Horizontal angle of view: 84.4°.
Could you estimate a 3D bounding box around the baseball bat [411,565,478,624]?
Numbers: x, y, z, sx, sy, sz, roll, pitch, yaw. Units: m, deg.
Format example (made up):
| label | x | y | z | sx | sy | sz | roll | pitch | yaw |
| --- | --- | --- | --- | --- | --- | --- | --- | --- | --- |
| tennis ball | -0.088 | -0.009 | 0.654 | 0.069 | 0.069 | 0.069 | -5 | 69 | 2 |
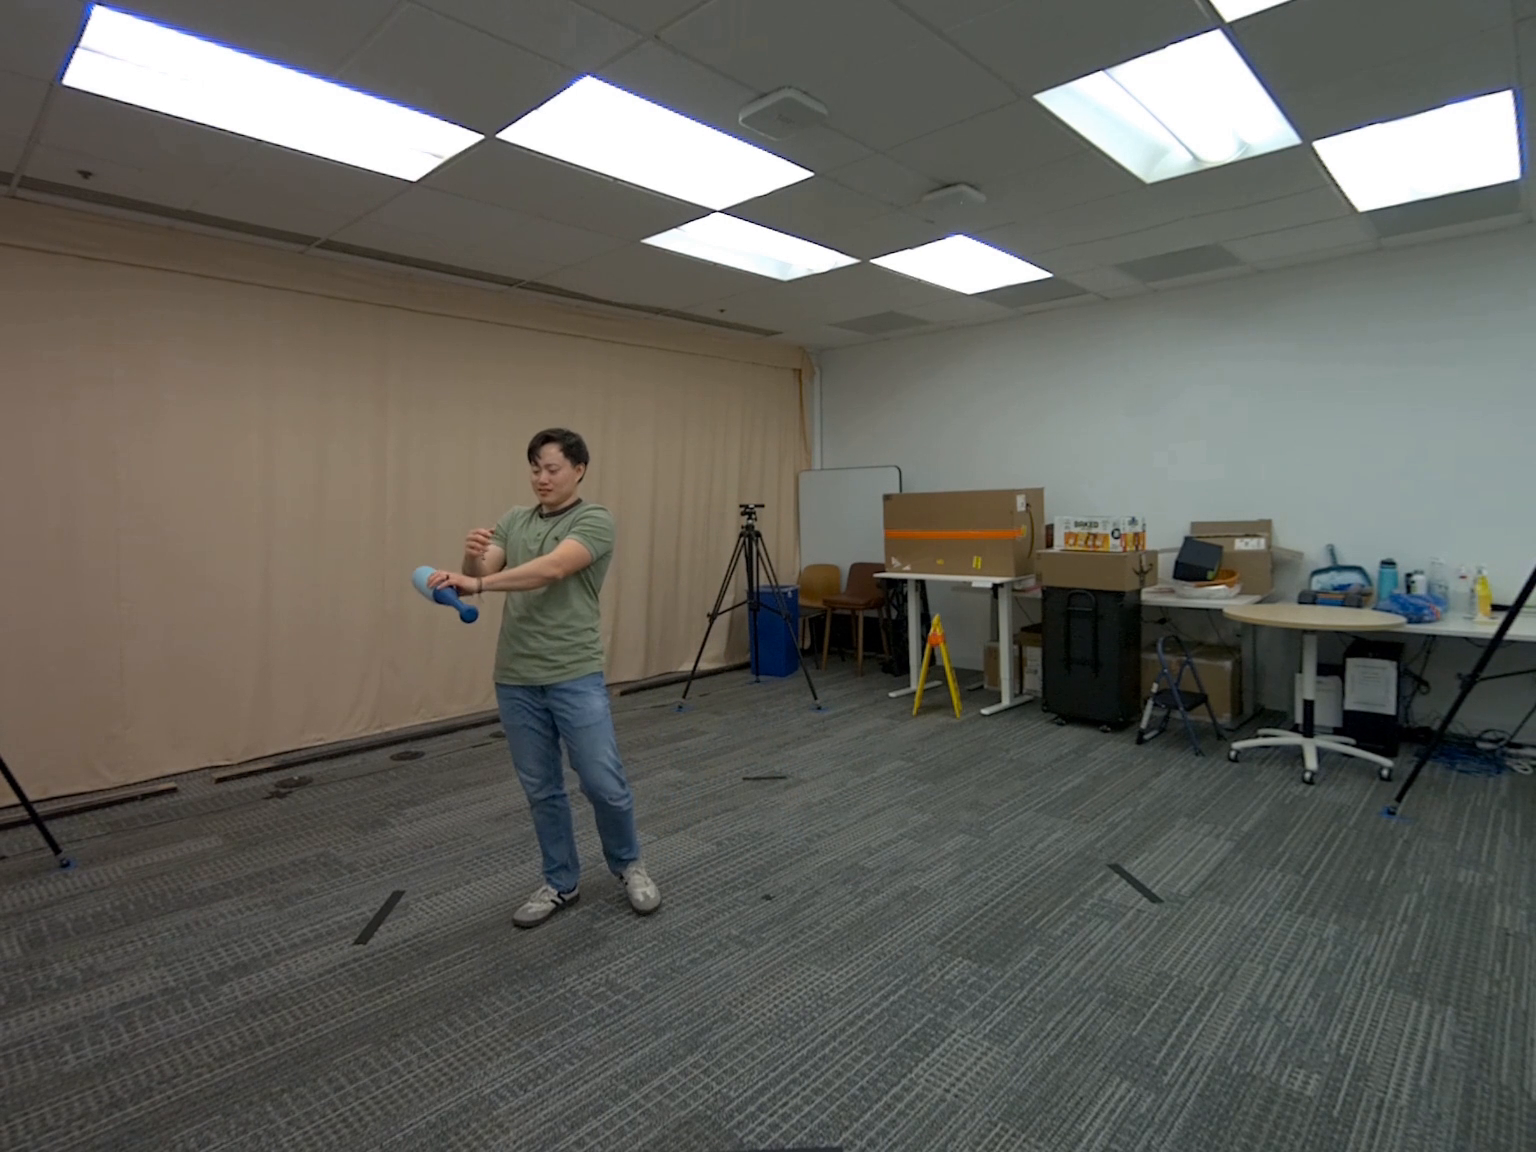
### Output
| label | x | y | z | sx | sy | sz | roll | pitch | yaw |
| --- | --- | --- | --- | --- | --- | --- | --- | --- | --- |
| baseball bat | -0.950 | 0.059 | 2.504 | 0.086 | 0.088 | 0.562 | -4 | 13 | -35 |
